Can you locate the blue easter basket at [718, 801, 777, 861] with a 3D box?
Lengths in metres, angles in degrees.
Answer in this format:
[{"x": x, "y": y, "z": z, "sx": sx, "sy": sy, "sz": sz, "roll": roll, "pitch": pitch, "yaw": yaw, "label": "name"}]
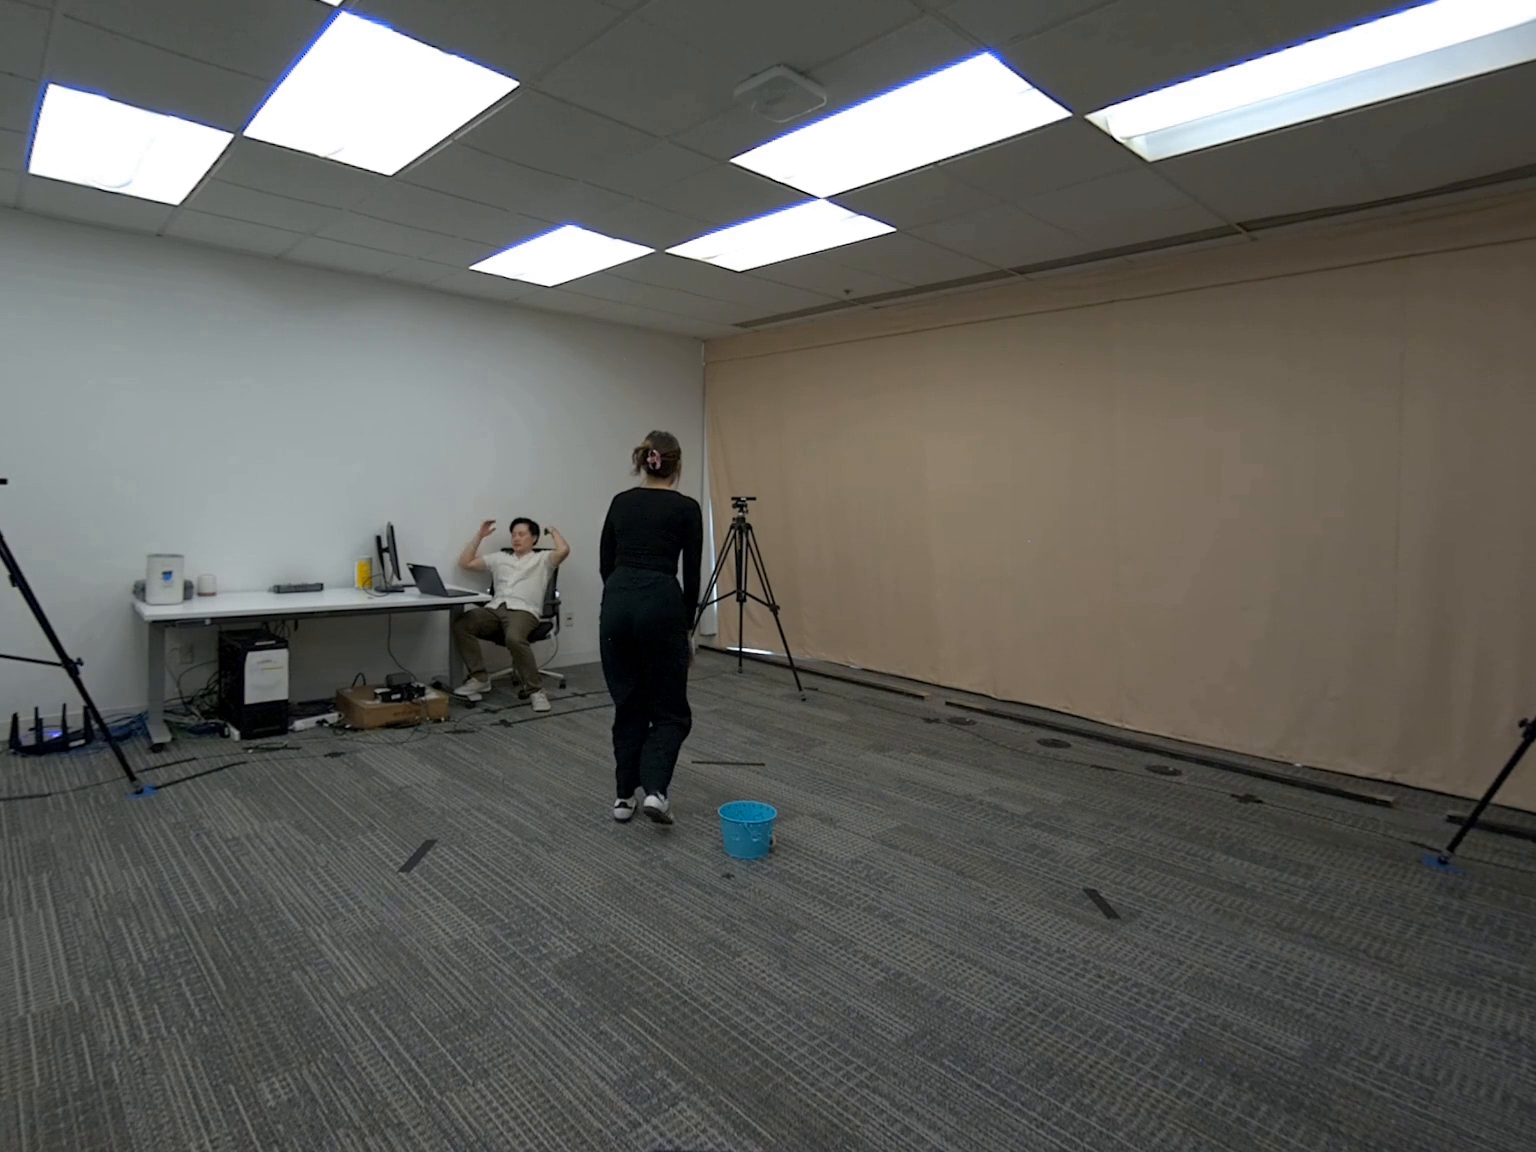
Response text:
[{"x": -0.090, "y": 1.009, "z": 3.339, "sx": 0.243, "sy": 0.155, "sz": 0.244, "roll": 1, "pitch": 4, "yaw": -1, "label": "blue easter basket"}]
